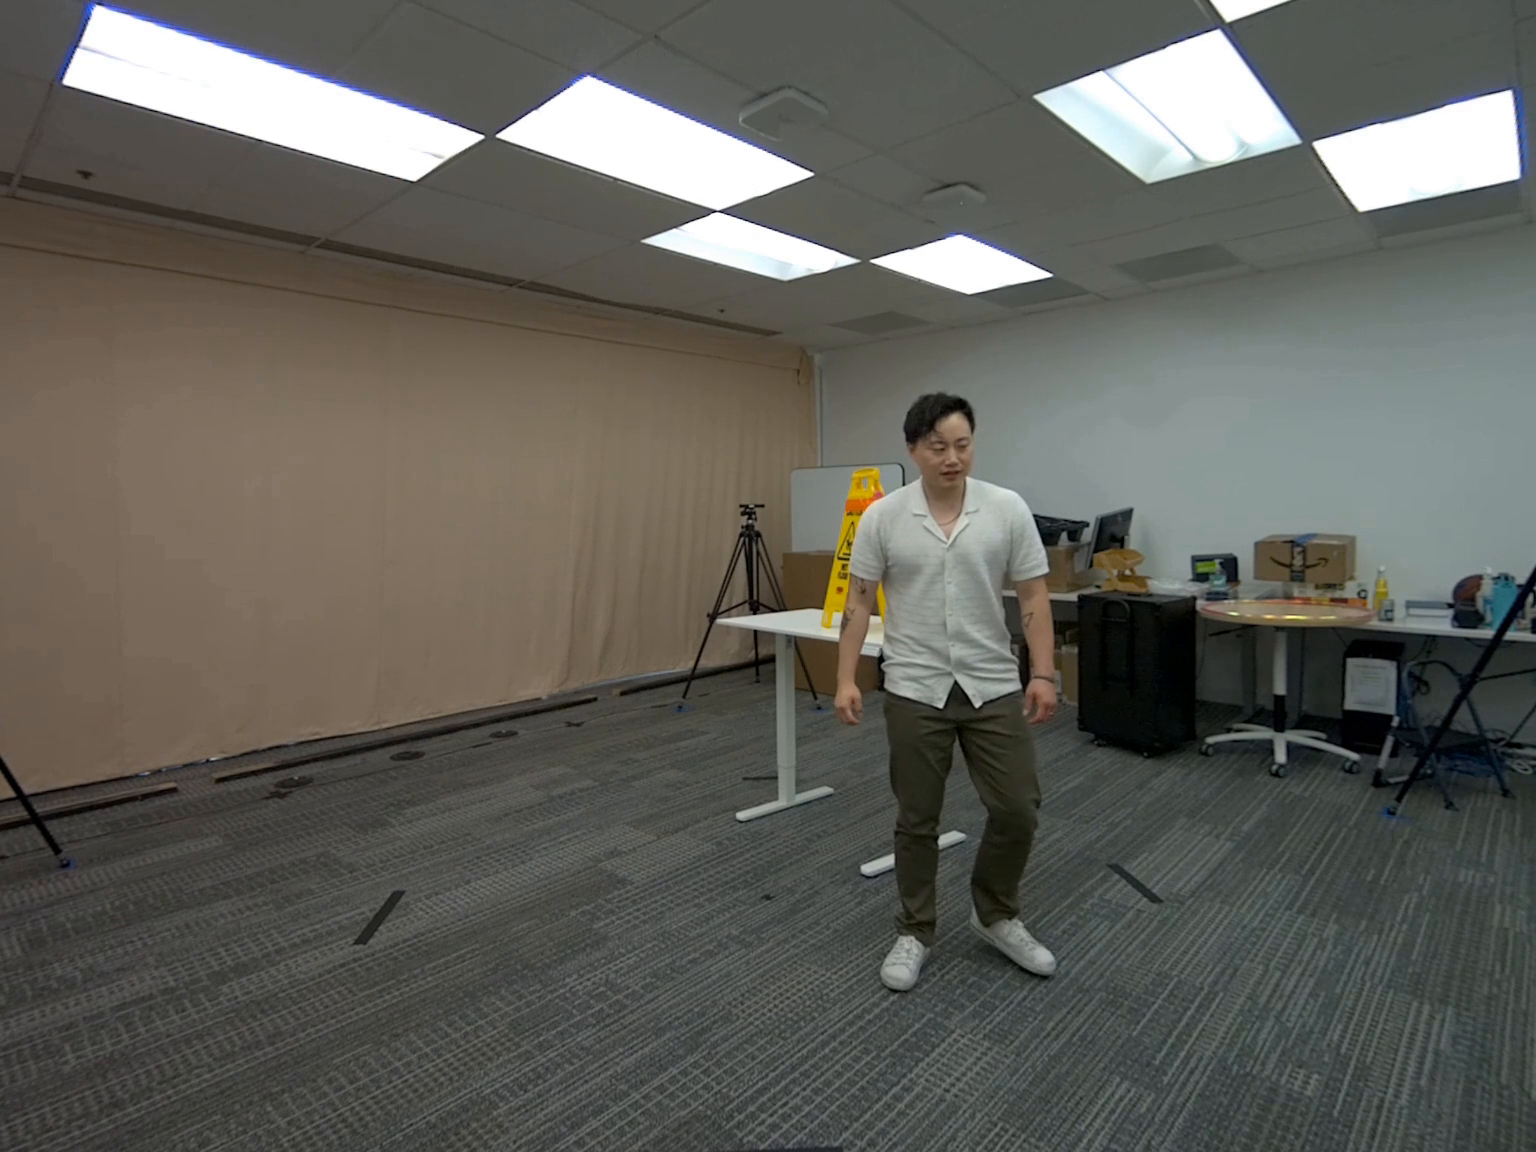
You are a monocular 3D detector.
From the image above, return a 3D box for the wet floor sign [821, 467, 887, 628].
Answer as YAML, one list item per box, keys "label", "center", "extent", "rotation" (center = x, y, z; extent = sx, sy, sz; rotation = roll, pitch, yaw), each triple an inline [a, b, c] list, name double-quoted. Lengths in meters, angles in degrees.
- label: "wet floor sign"
  center: [0.400, -0.108, 3.412]
  extent: [0.285, 0.645, 0.287]
  rotation: [-2, 2, -17]
